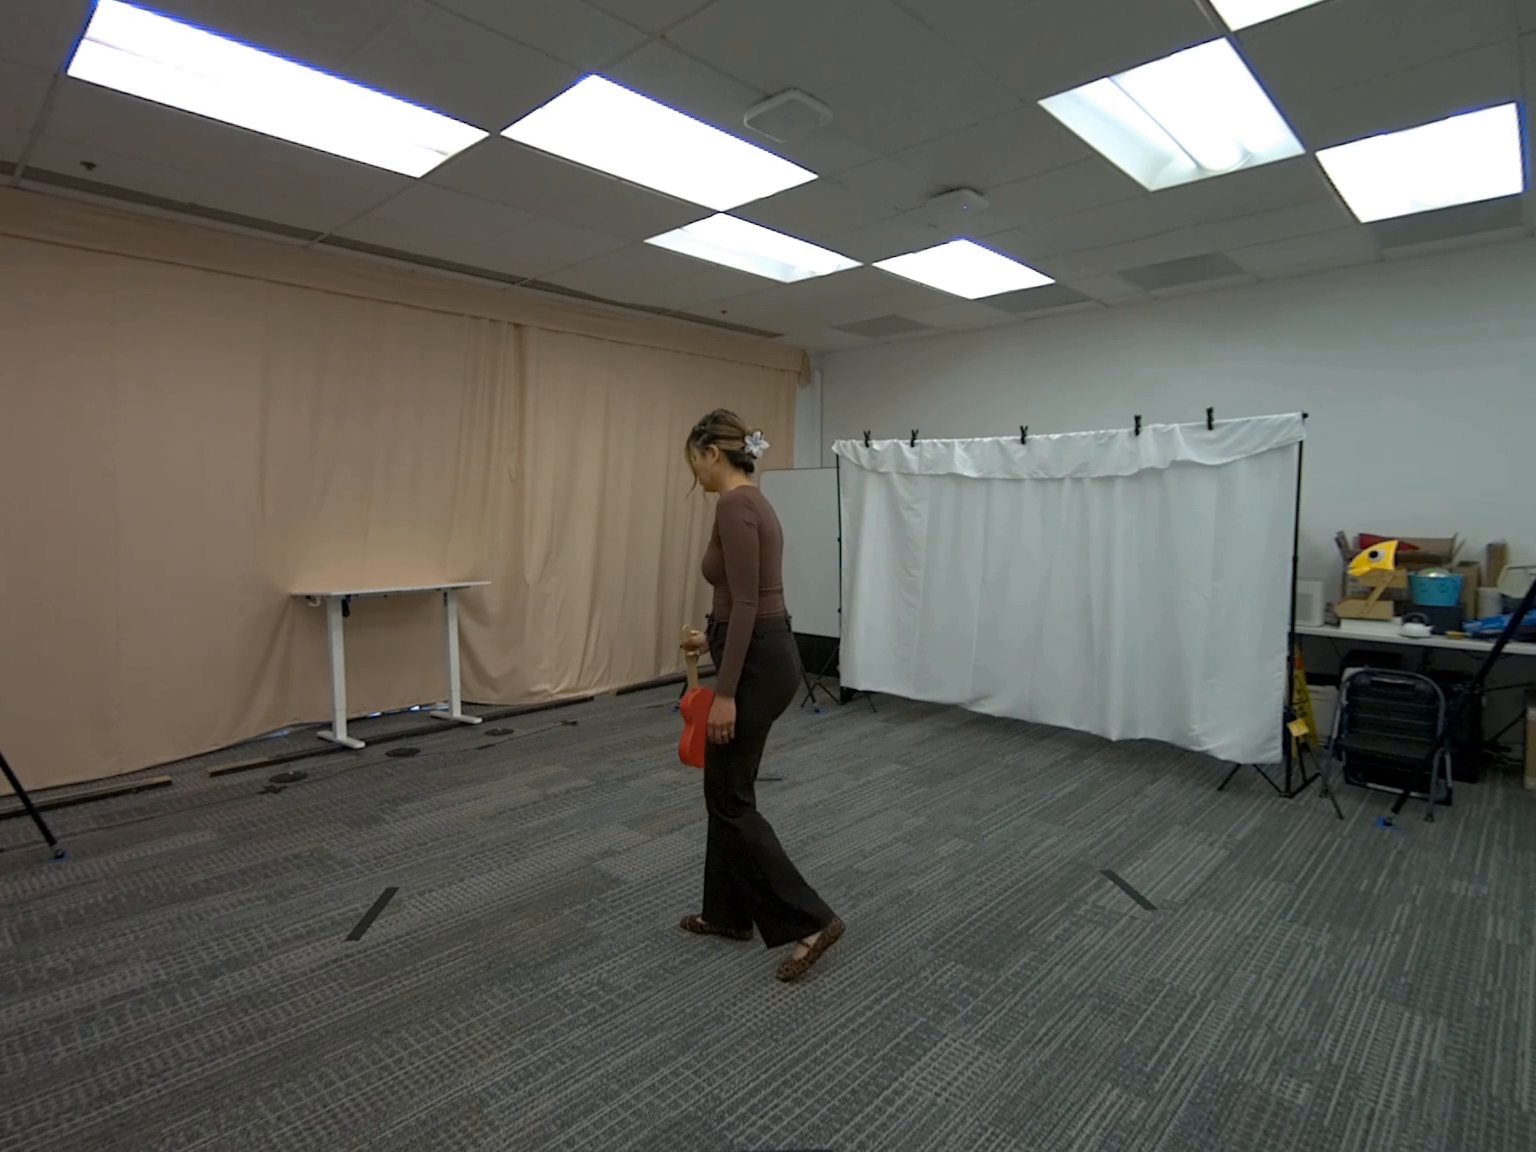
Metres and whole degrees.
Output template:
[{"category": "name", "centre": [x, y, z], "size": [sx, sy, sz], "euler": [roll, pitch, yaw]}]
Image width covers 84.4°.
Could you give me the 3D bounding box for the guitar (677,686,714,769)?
[{"category": "guitar", "centre": [-0.263, 0.431, 2.994], "size": [0.188, 0.498, 0.072], "euler": [-12, 0, -43]}]
